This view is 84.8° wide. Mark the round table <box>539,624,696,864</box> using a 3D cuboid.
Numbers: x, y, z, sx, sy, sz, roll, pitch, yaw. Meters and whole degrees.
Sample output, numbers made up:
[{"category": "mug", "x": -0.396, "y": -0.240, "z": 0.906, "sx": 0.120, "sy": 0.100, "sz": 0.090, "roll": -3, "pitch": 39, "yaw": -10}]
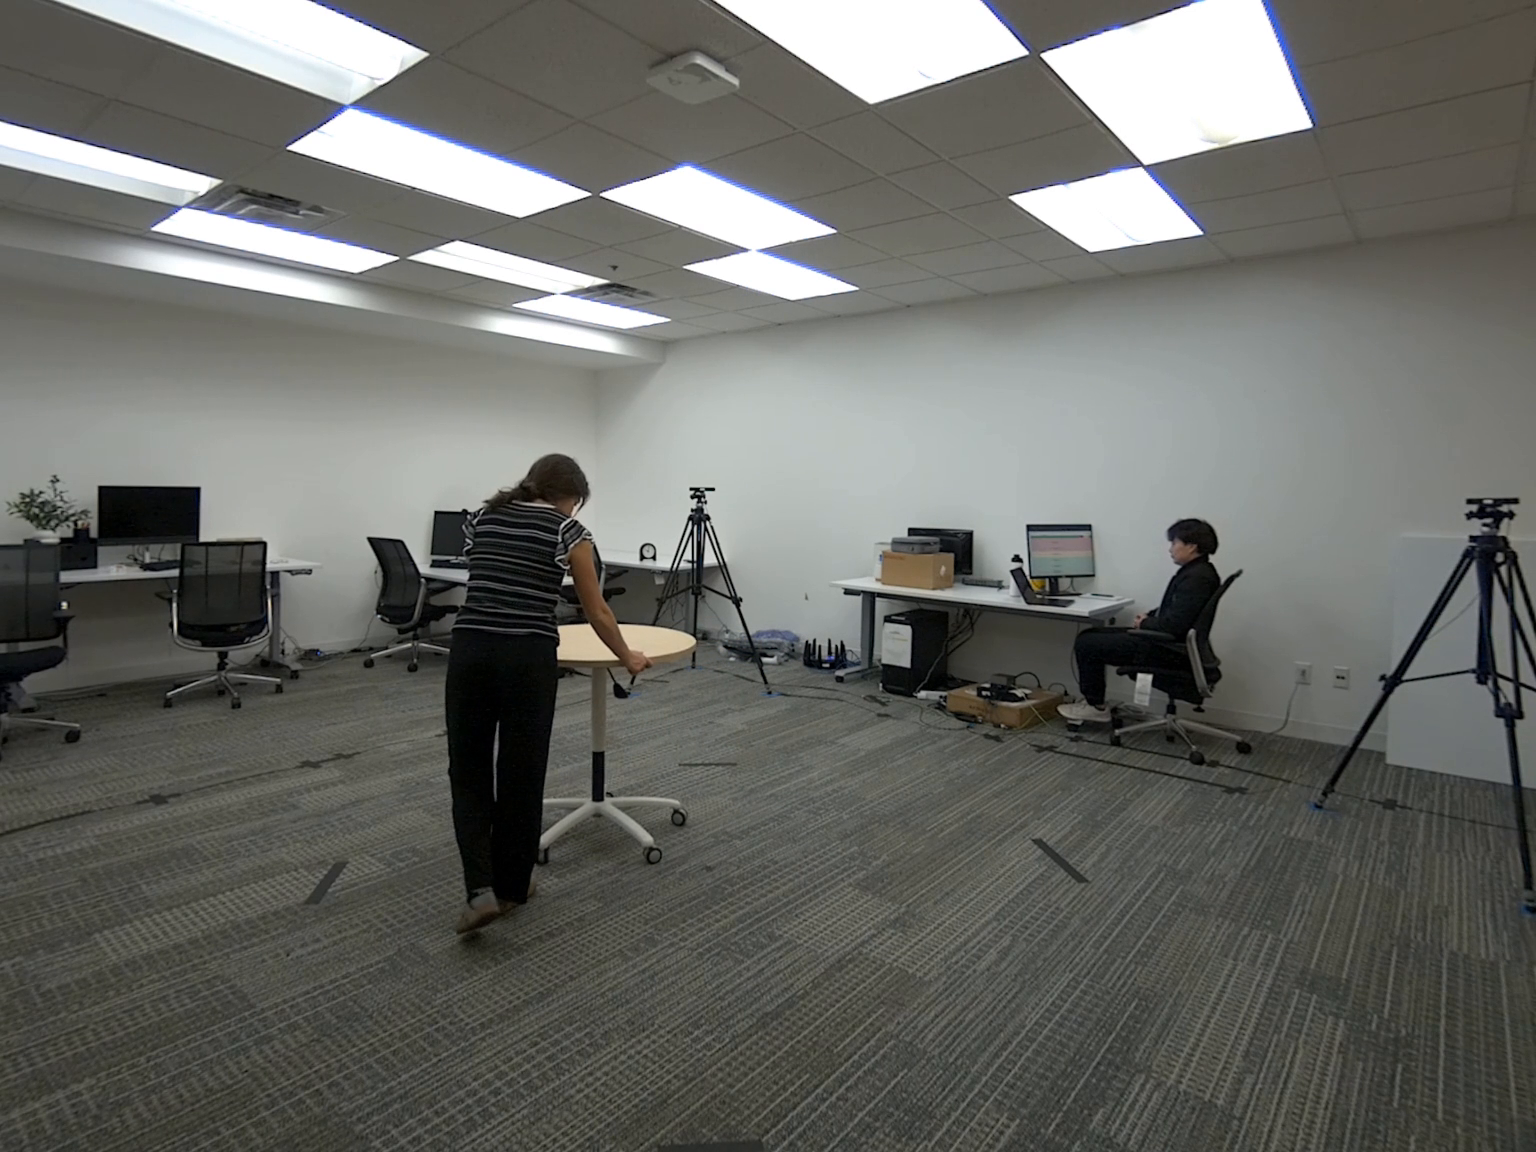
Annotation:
[{"category": "round table", "x": -0.674, "y": 0.644, "z": 3.379, "sx": 0.763, "sy": 0.791, "sz": 0.768, "roll": 1, "pitch": 5, "yaw": -2}]
